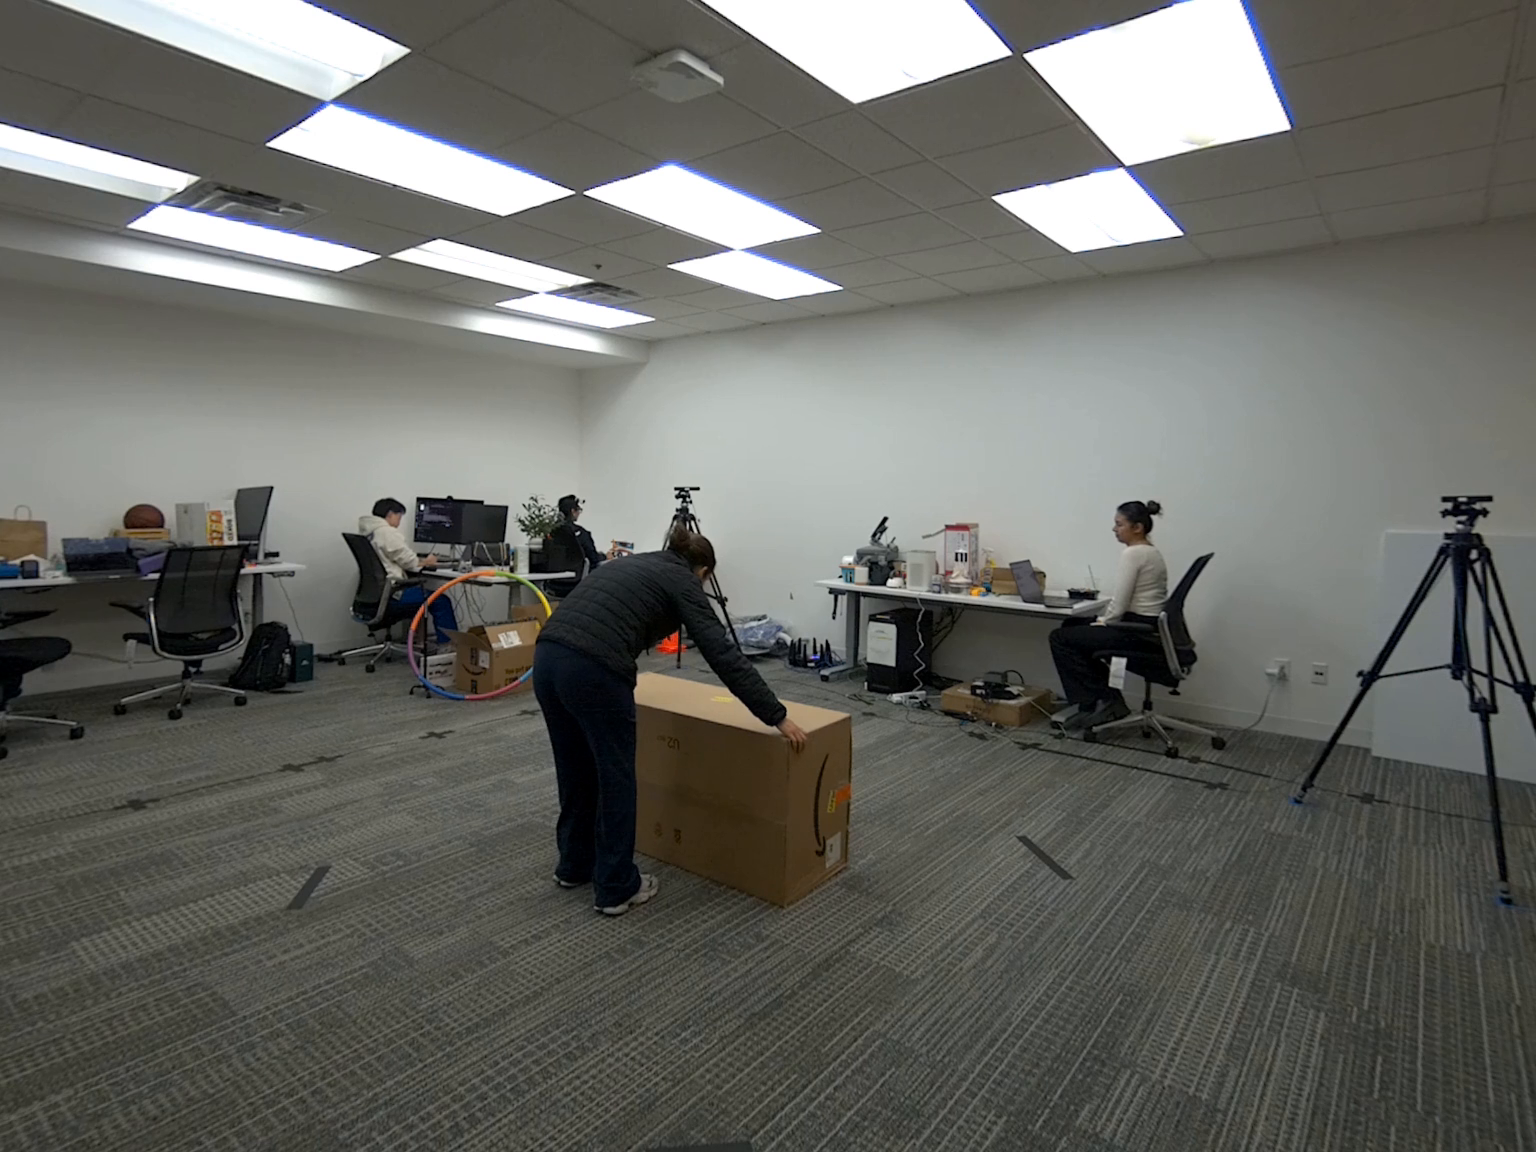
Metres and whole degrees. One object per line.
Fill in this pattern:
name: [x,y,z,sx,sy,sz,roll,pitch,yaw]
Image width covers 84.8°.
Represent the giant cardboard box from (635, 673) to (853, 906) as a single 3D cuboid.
giant cardboard box: [-0.217,0.760,3.295,1.061,0.582,0.434,5,5,37]
